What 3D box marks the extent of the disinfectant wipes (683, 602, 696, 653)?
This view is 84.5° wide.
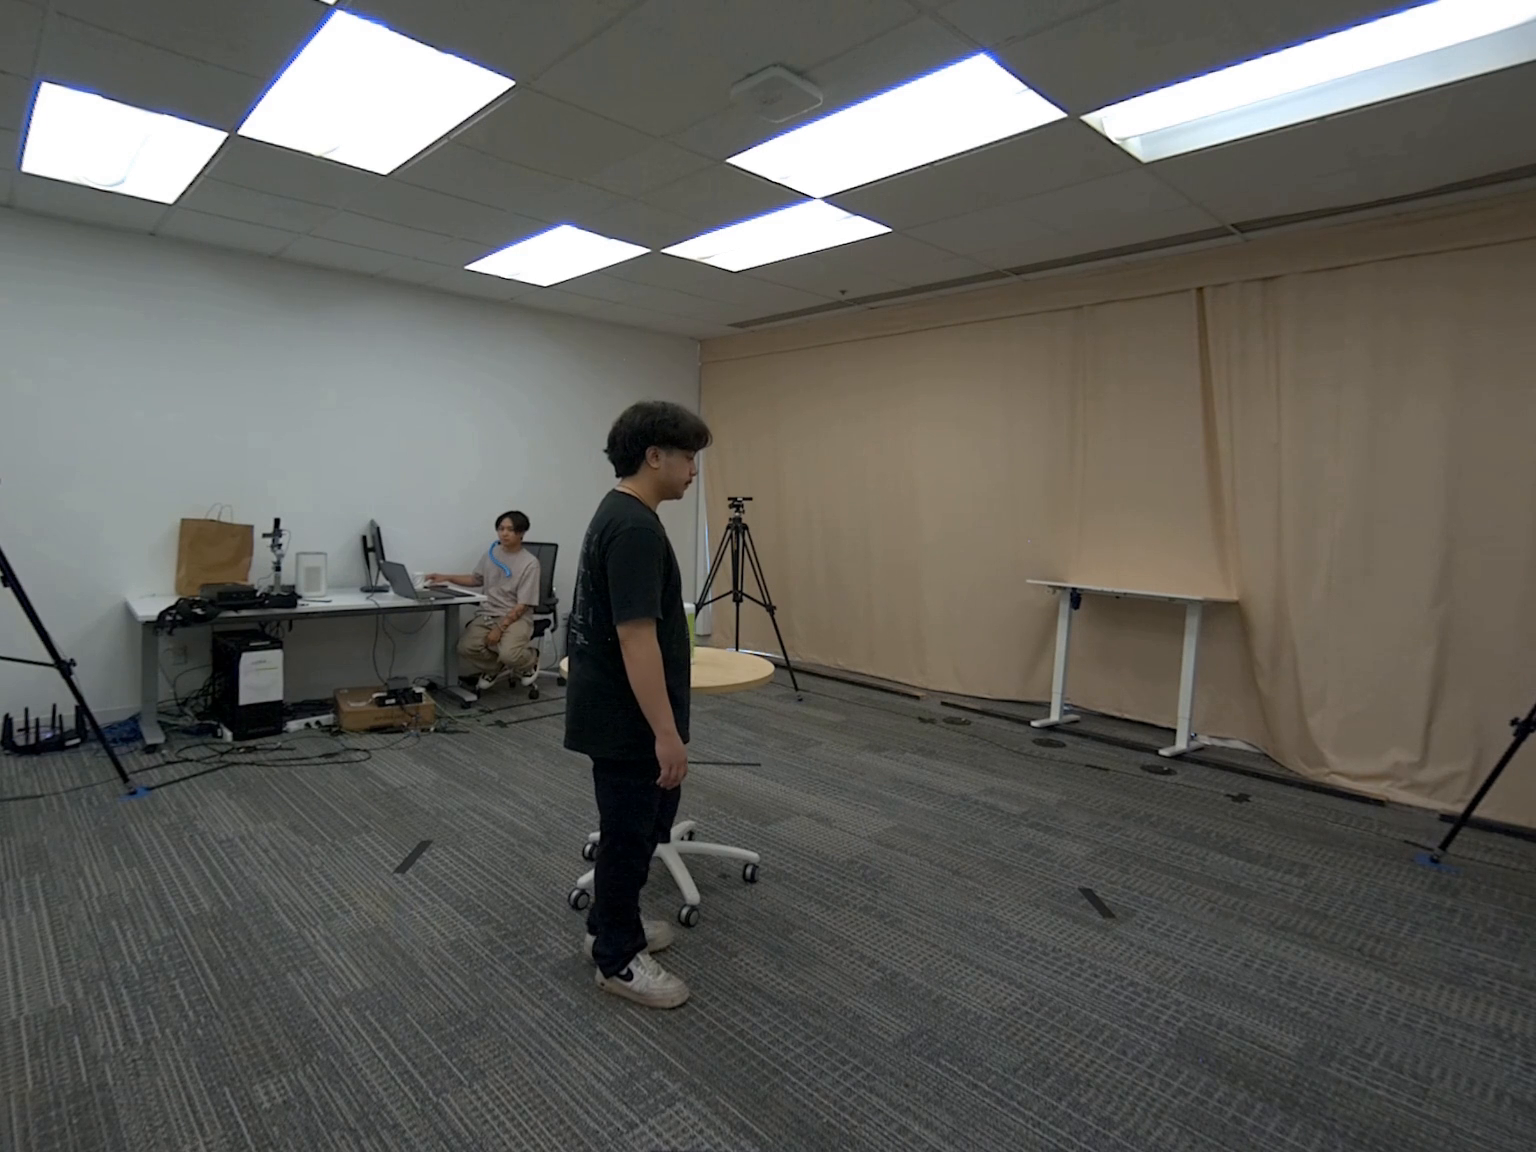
[{"bbox_3d":[-0.326,0.214,3.033,0.118,0.217,0.118,2,3,-2],"label":"disinfectant wipes"}]
